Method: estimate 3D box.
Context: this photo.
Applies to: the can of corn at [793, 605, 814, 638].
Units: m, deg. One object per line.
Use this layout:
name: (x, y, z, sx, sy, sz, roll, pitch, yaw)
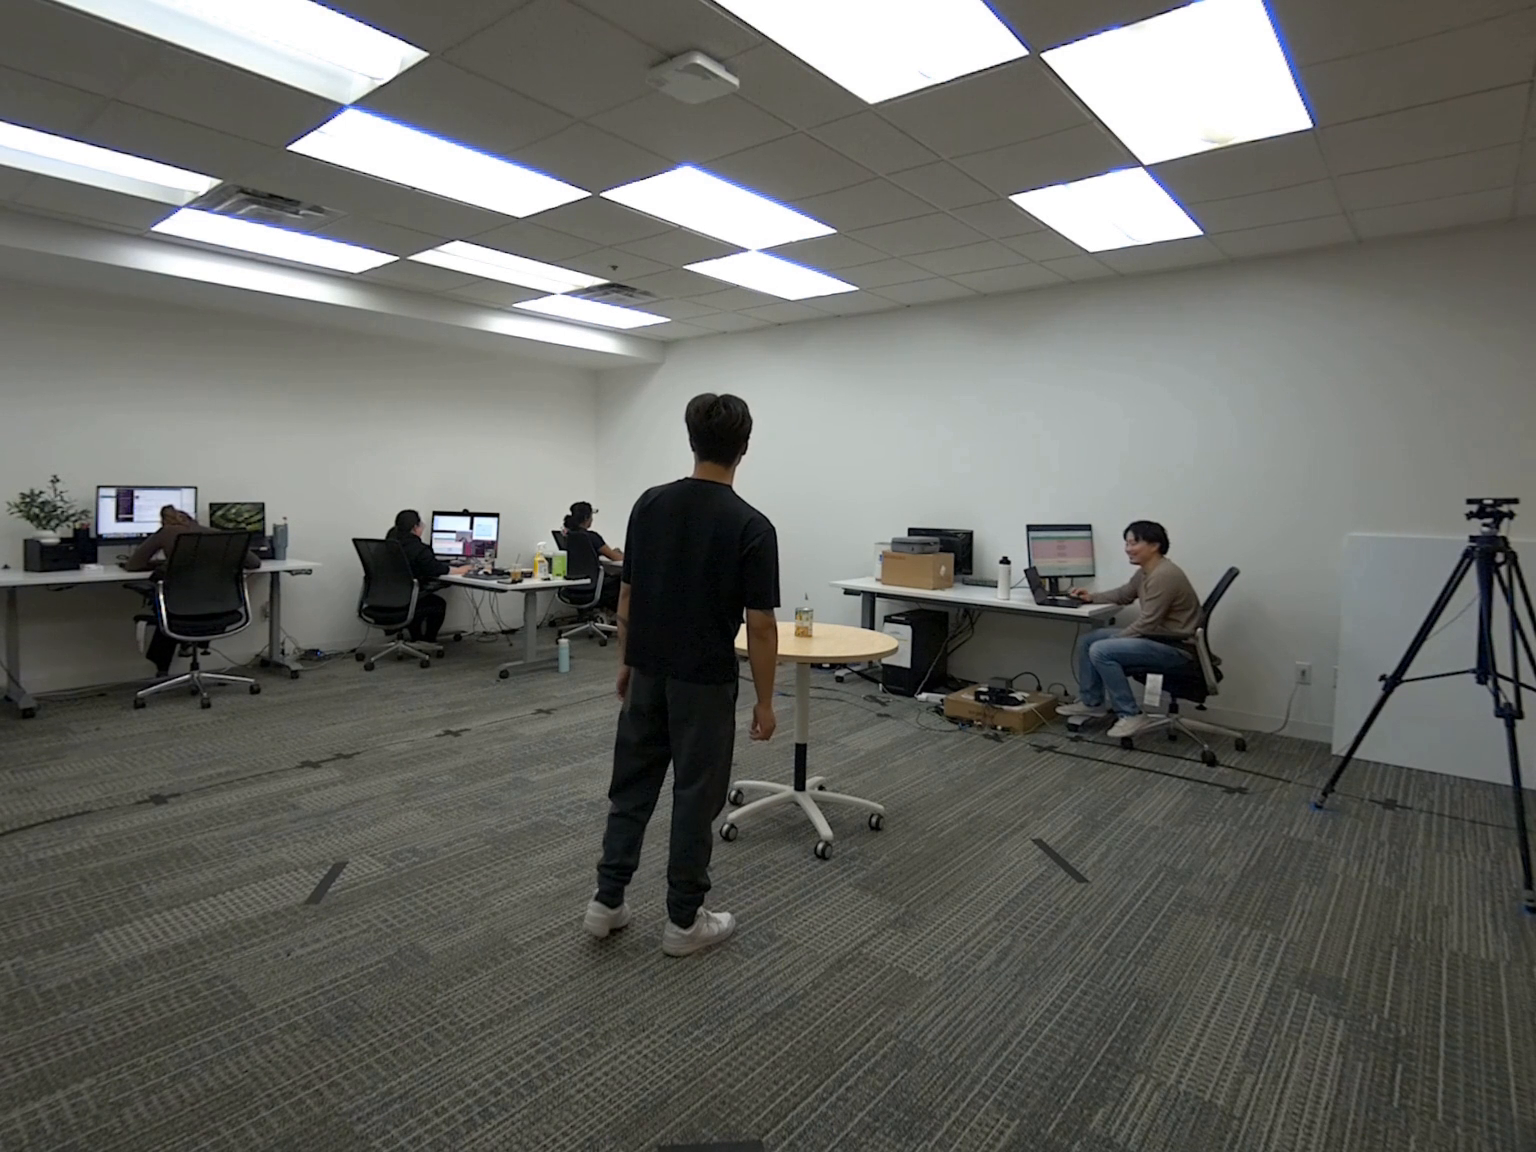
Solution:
can of corn: (0.141, 0.190, 3.554, 0.074, 0.111, 0.074, 5, 4, -2)
